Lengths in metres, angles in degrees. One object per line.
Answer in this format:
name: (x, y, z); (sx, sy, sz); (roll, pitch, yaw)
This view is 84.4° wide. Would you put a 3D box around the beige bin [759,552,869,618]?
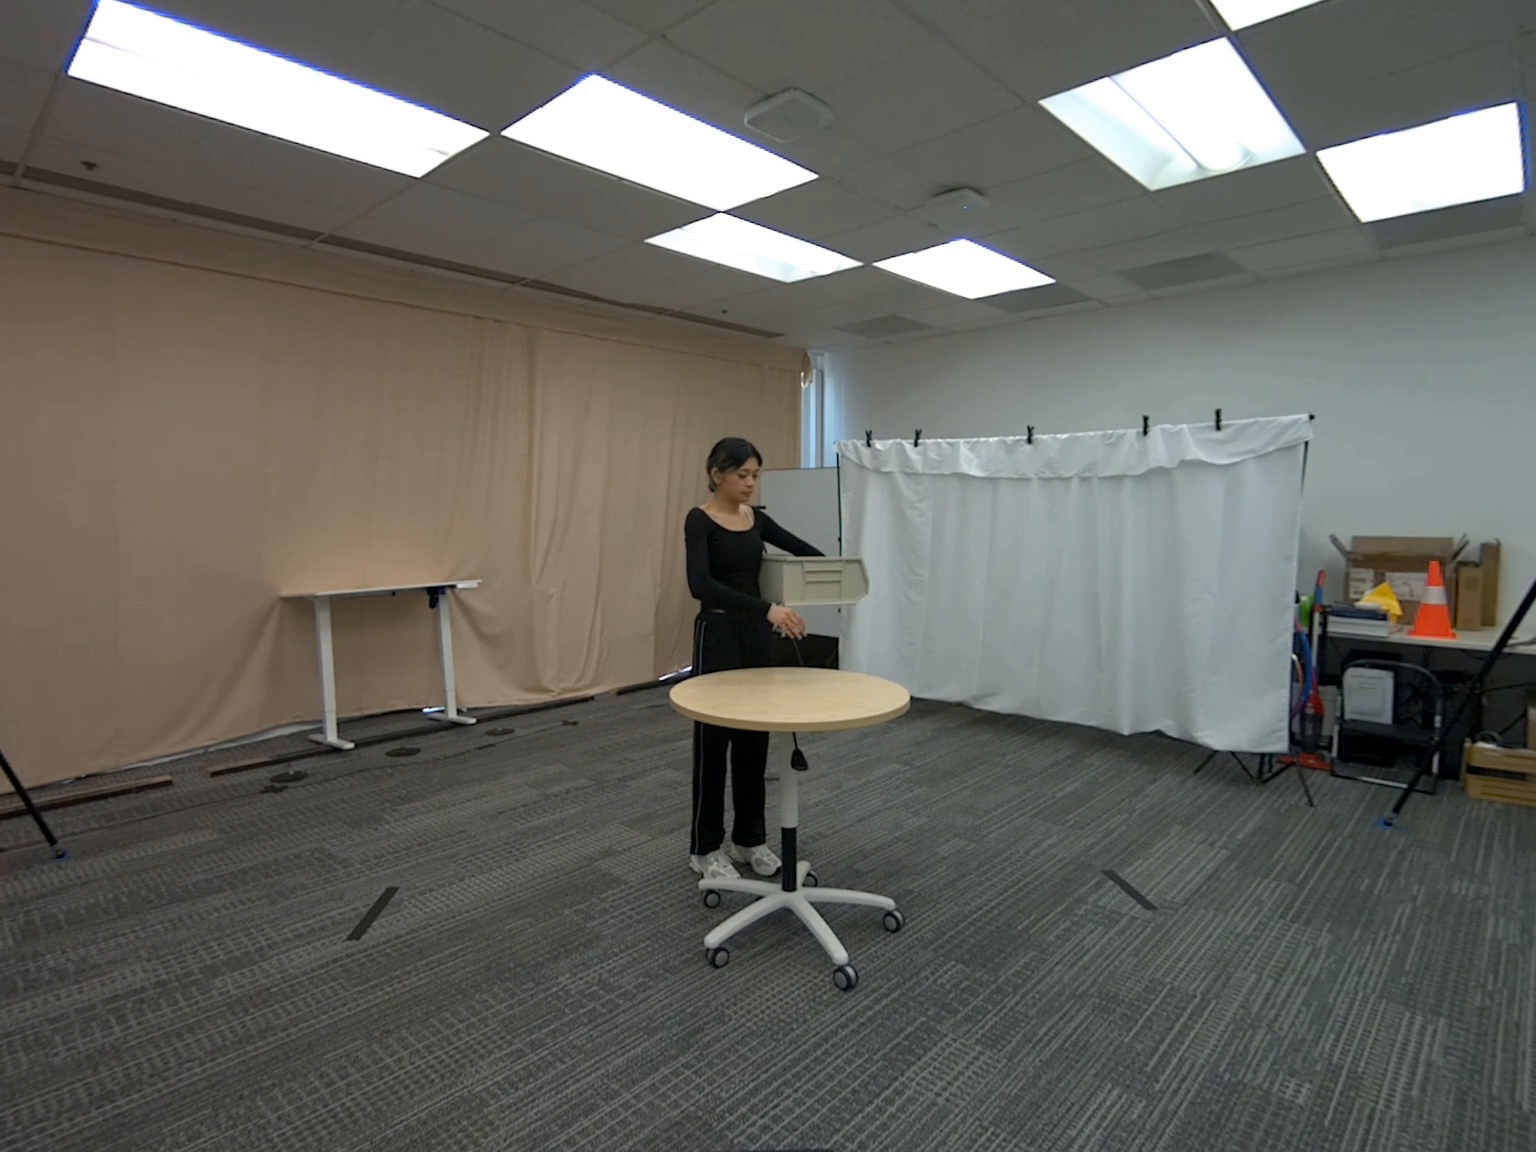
beige bin: (0.136, 0.010, 3.310); (0.368, 0.189, 0.433); (0, 3, -26)
